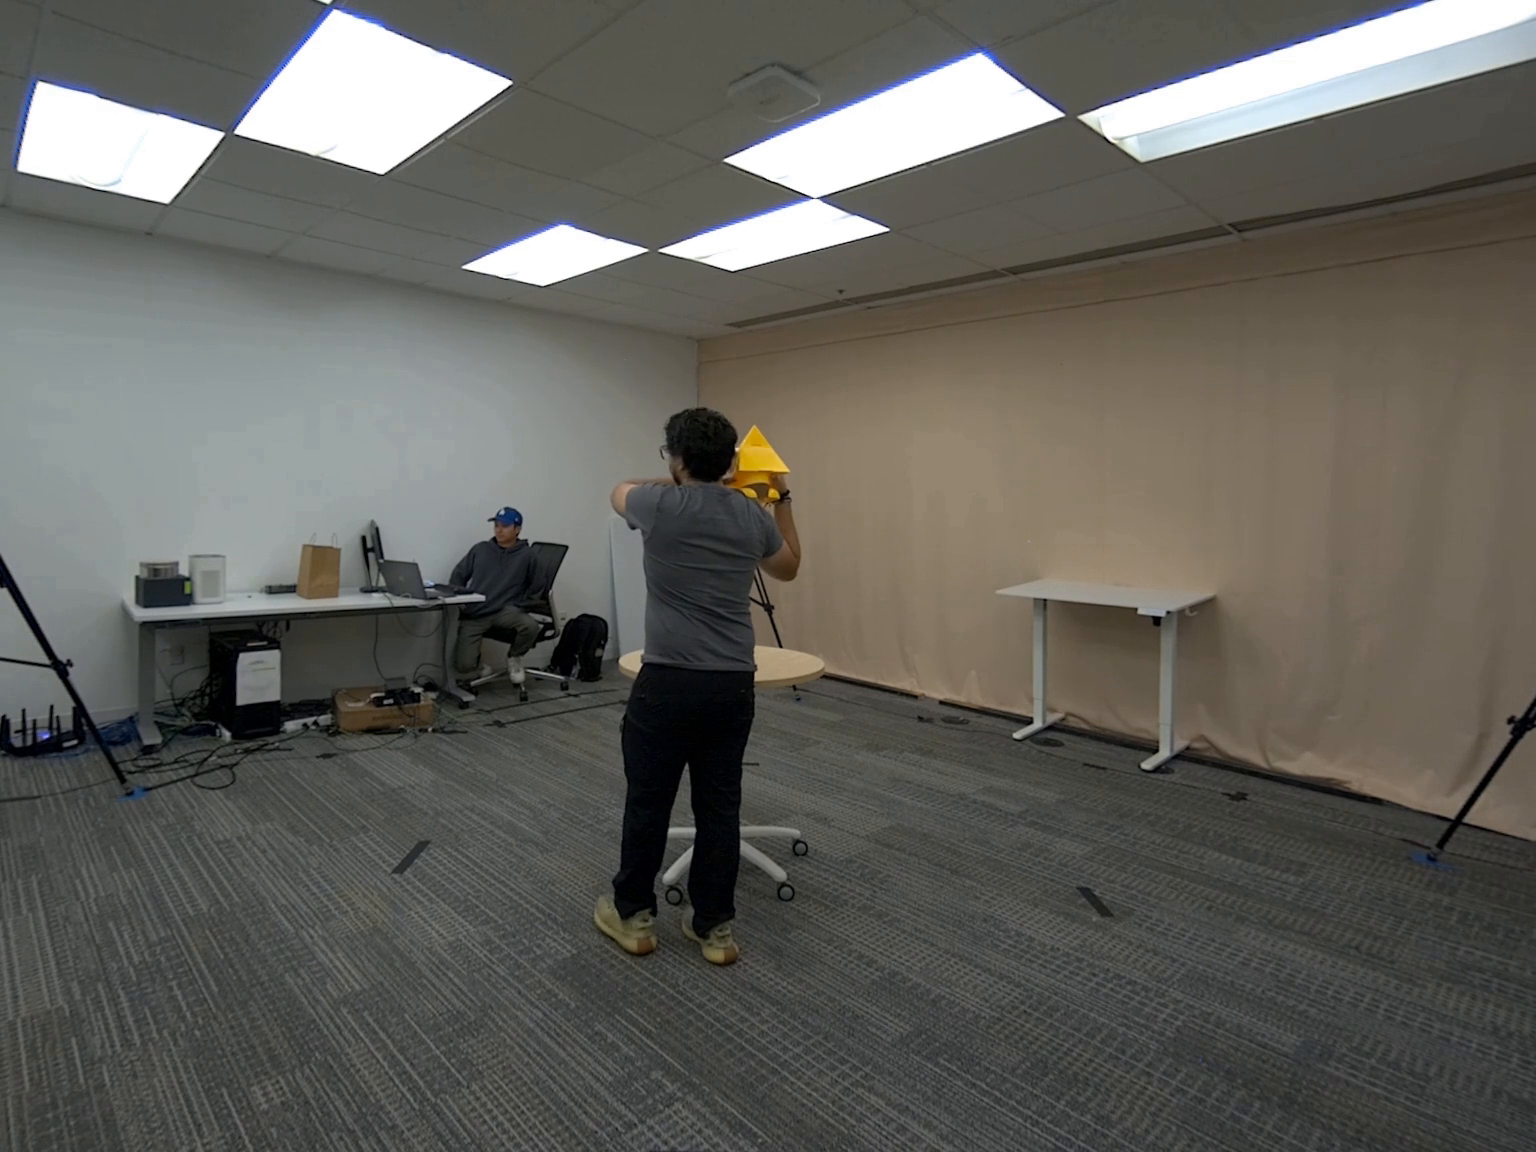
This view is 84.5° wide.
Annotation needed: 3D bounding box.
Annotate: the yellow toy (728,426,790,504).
[{"bbox_3d":[-0.081,-0.352,2.670,0.200,0.231,0.197,-3,-4,-40],"label":"yellow toy"}]
